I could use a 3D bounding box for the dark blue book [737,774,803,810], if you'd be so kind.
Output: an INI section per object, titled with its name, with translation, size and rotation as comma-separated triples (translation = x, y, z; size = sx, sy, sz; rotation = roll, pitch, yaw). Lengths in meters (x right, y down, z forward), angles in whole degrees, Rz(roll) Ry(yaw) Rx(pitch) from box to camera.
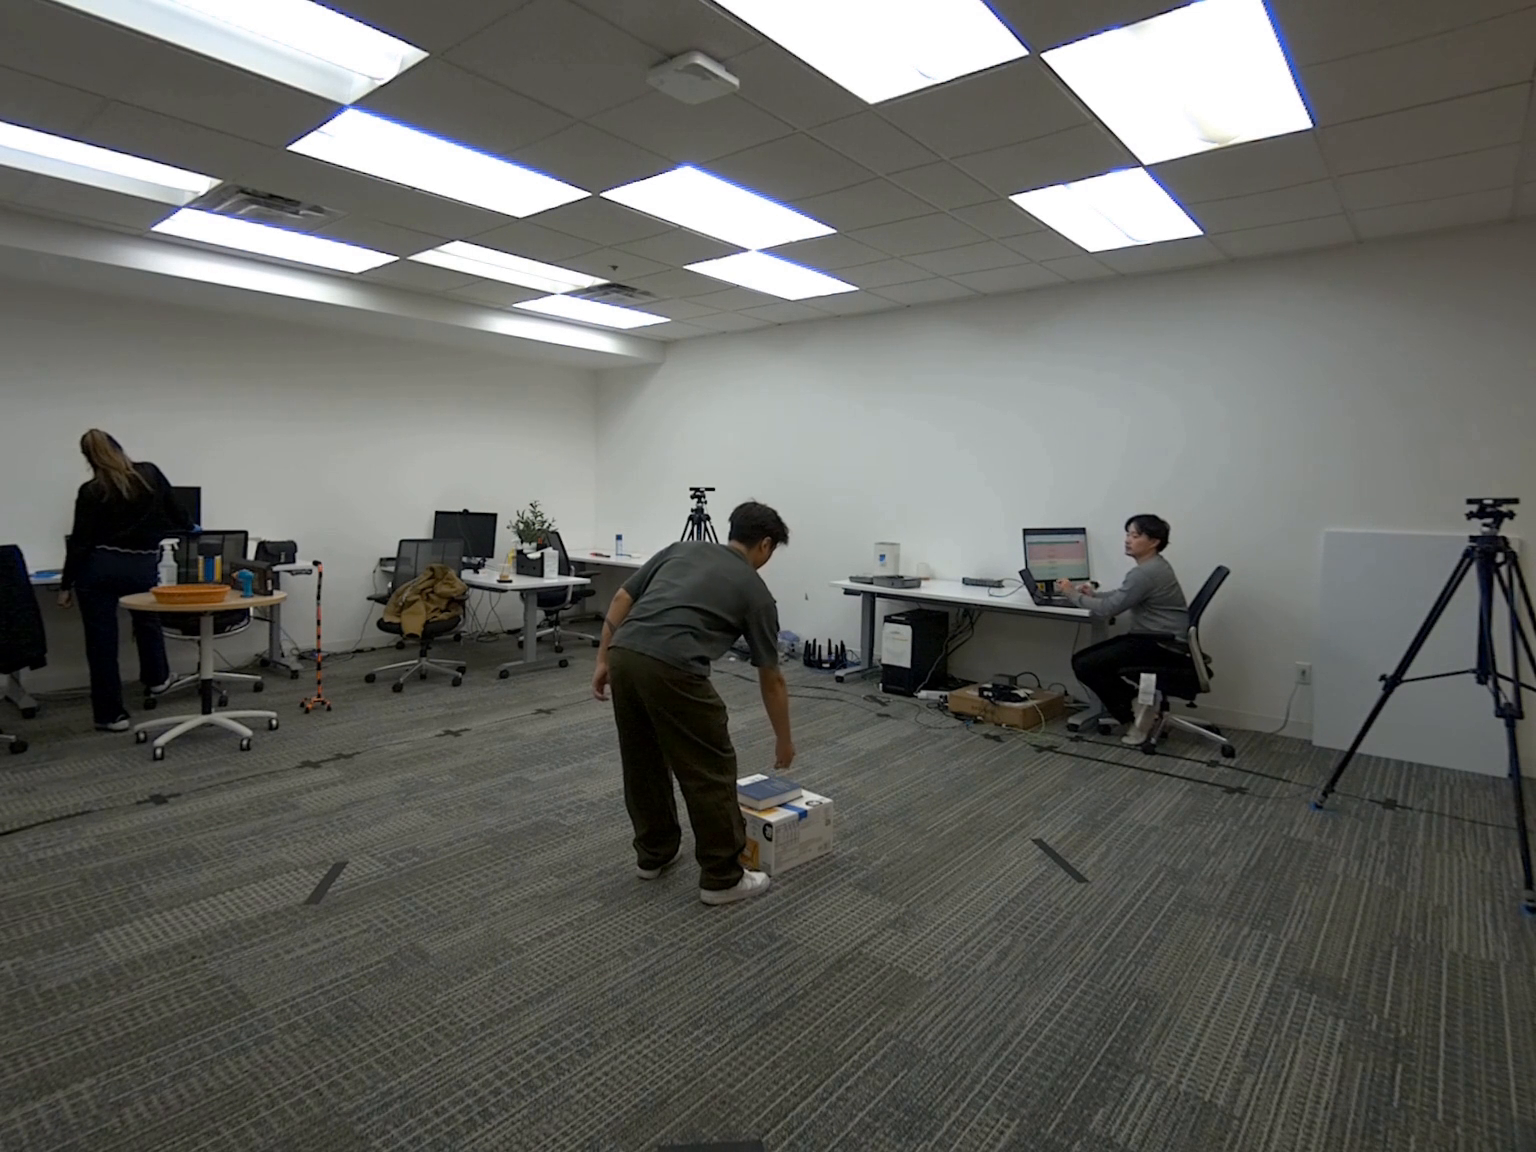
[dark blue book]
translation = -0.005, 0.841, 3.291
size = 0.238, 0.045, 0.169
rotation = -4, 7, -43
